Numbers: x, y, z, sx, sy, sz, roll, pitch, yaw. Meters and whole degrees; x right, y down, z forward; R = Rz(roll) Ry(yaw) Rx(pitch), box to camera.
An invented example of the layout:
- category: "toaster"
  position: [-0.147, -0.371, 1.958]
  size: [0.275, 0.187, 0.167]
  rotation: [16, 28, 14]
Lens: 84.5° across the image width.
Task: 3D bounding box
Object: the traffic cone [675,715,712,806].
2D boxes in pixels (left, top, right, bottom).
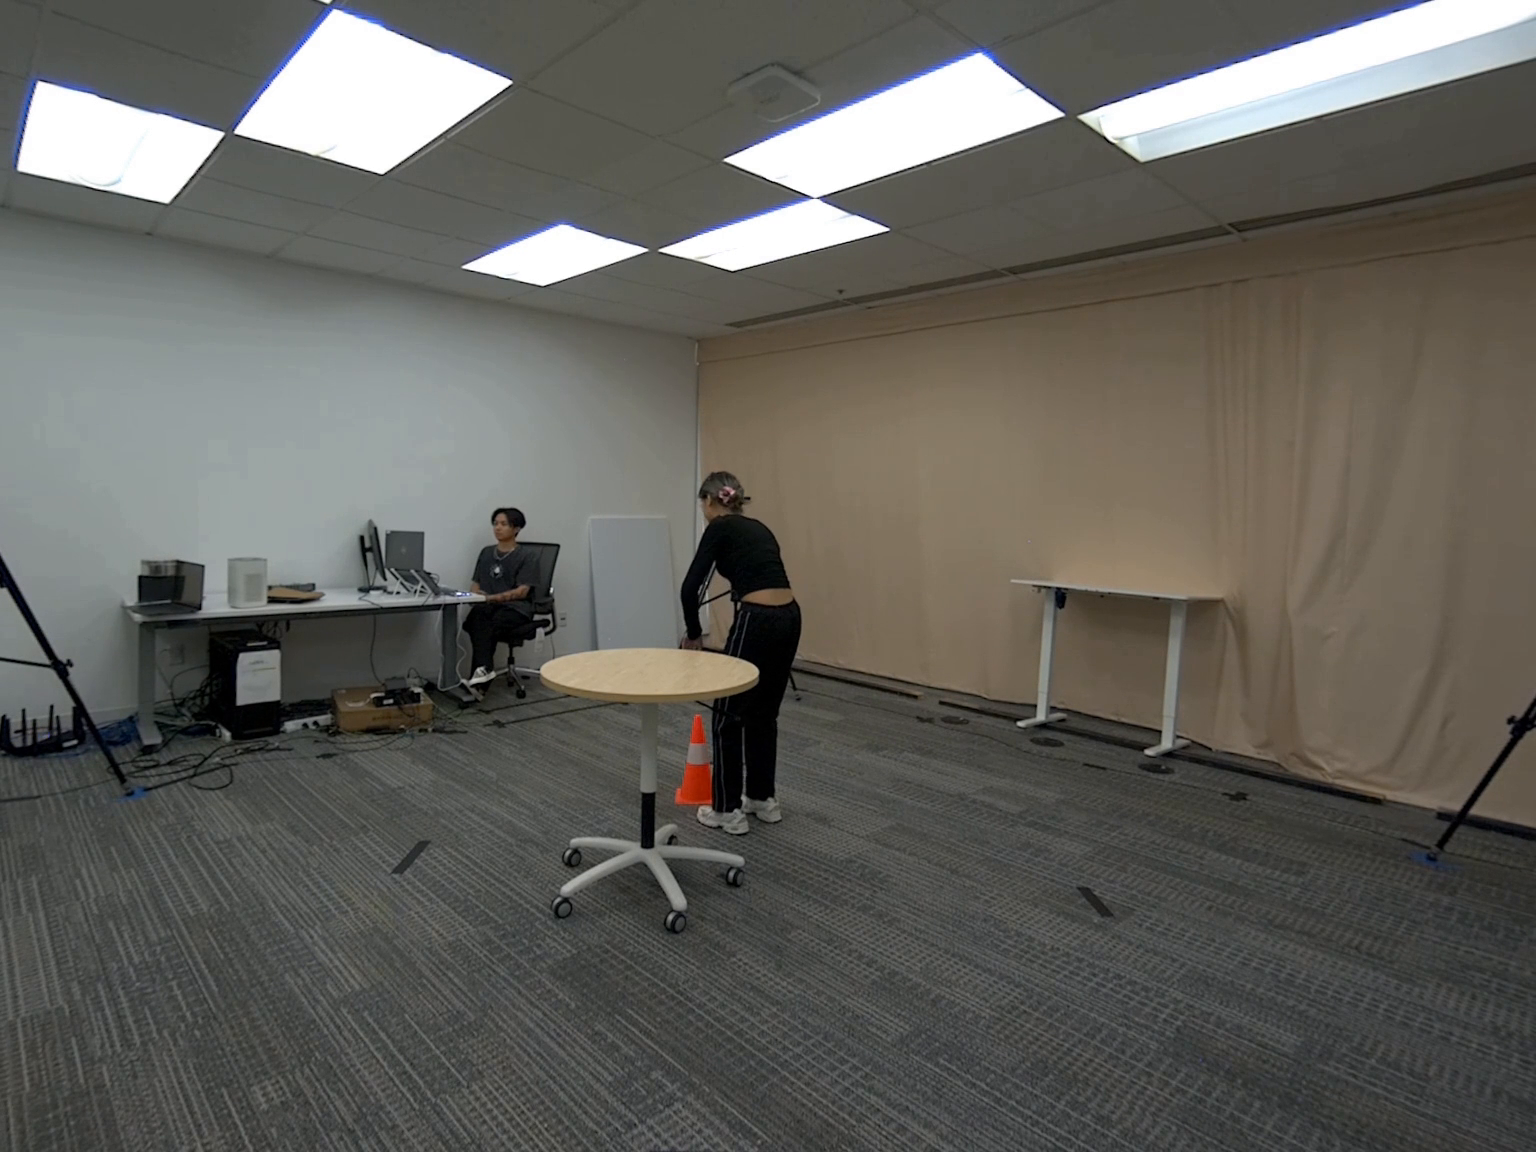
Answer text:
- category: "traffic cone"
  position: [-0.345, 0.845, 3.926]
  size: [0.203, 0.382, 0.205]
  rotation: [1, 4, 0]
